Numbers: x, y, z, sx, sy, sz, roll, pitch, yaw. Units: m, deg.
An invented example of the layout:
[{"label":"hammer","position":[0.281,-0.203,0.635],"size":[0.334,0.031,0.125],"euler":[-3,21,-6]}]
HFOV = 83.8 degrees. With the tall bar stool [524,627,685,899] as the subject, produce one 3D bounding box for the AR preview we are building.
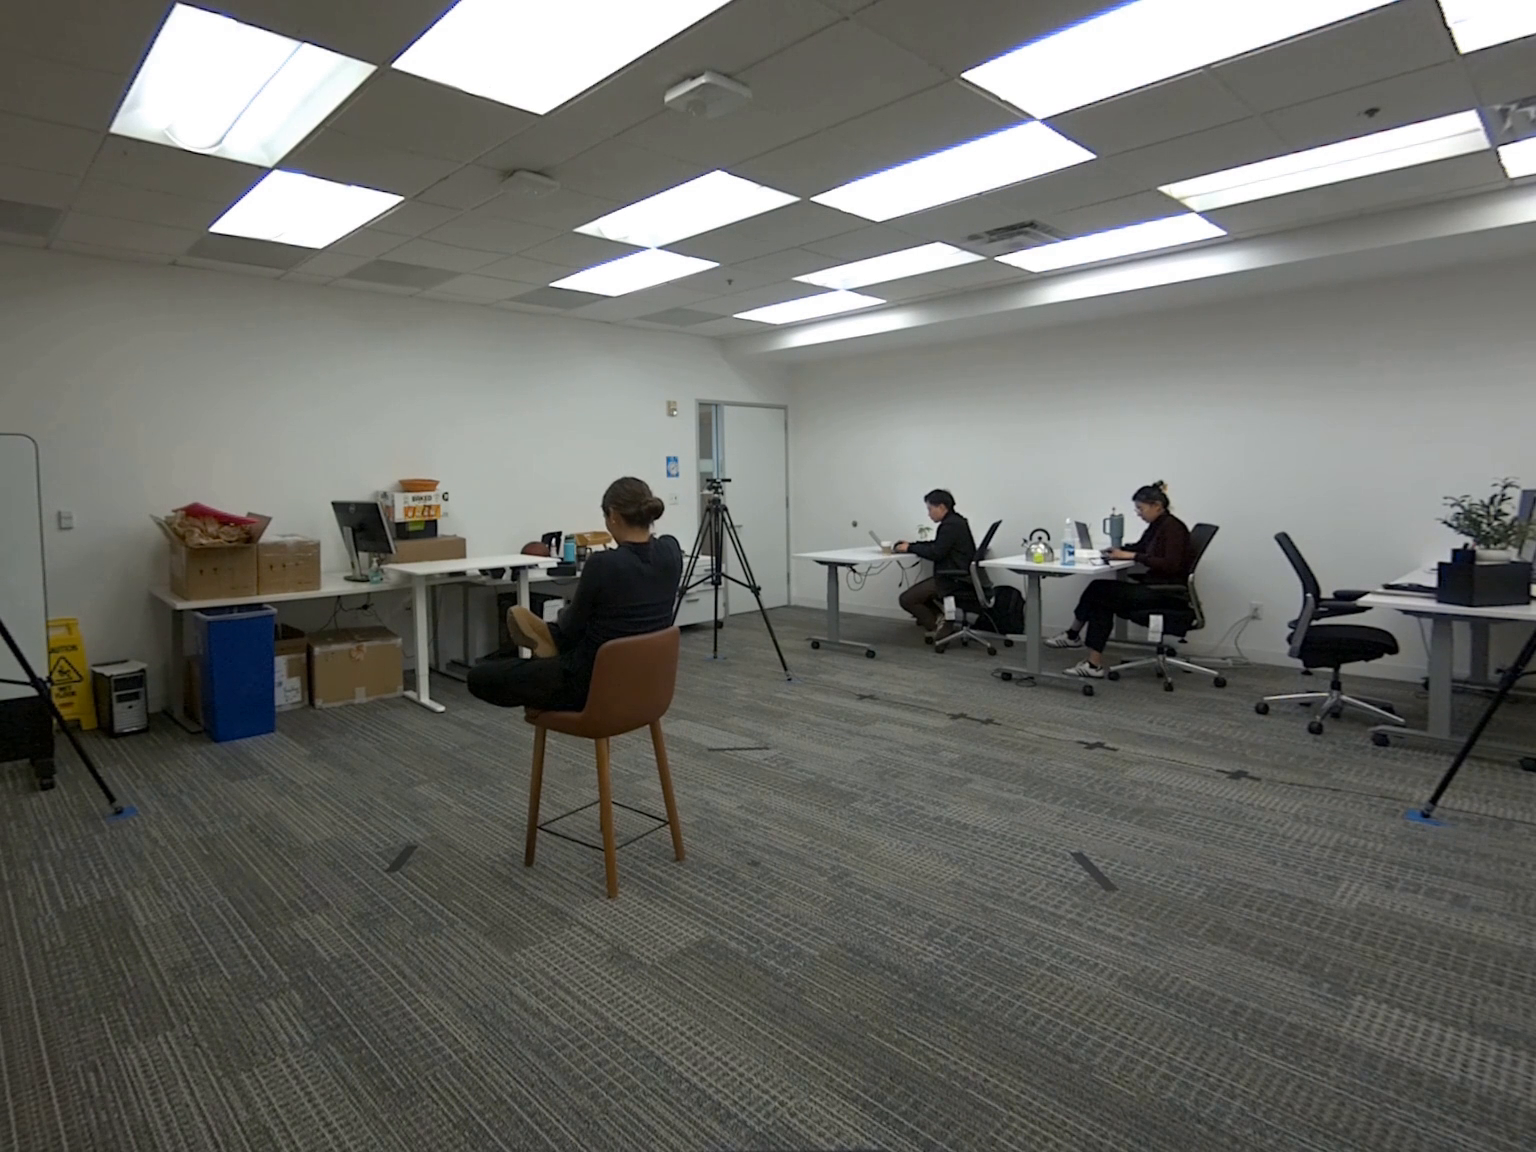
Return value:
[{"label":"tall bar stool","position":[-0.594,0.620,3.111],"size":[0.482,0.885,0.445],"euler":[5,7,37]}]
